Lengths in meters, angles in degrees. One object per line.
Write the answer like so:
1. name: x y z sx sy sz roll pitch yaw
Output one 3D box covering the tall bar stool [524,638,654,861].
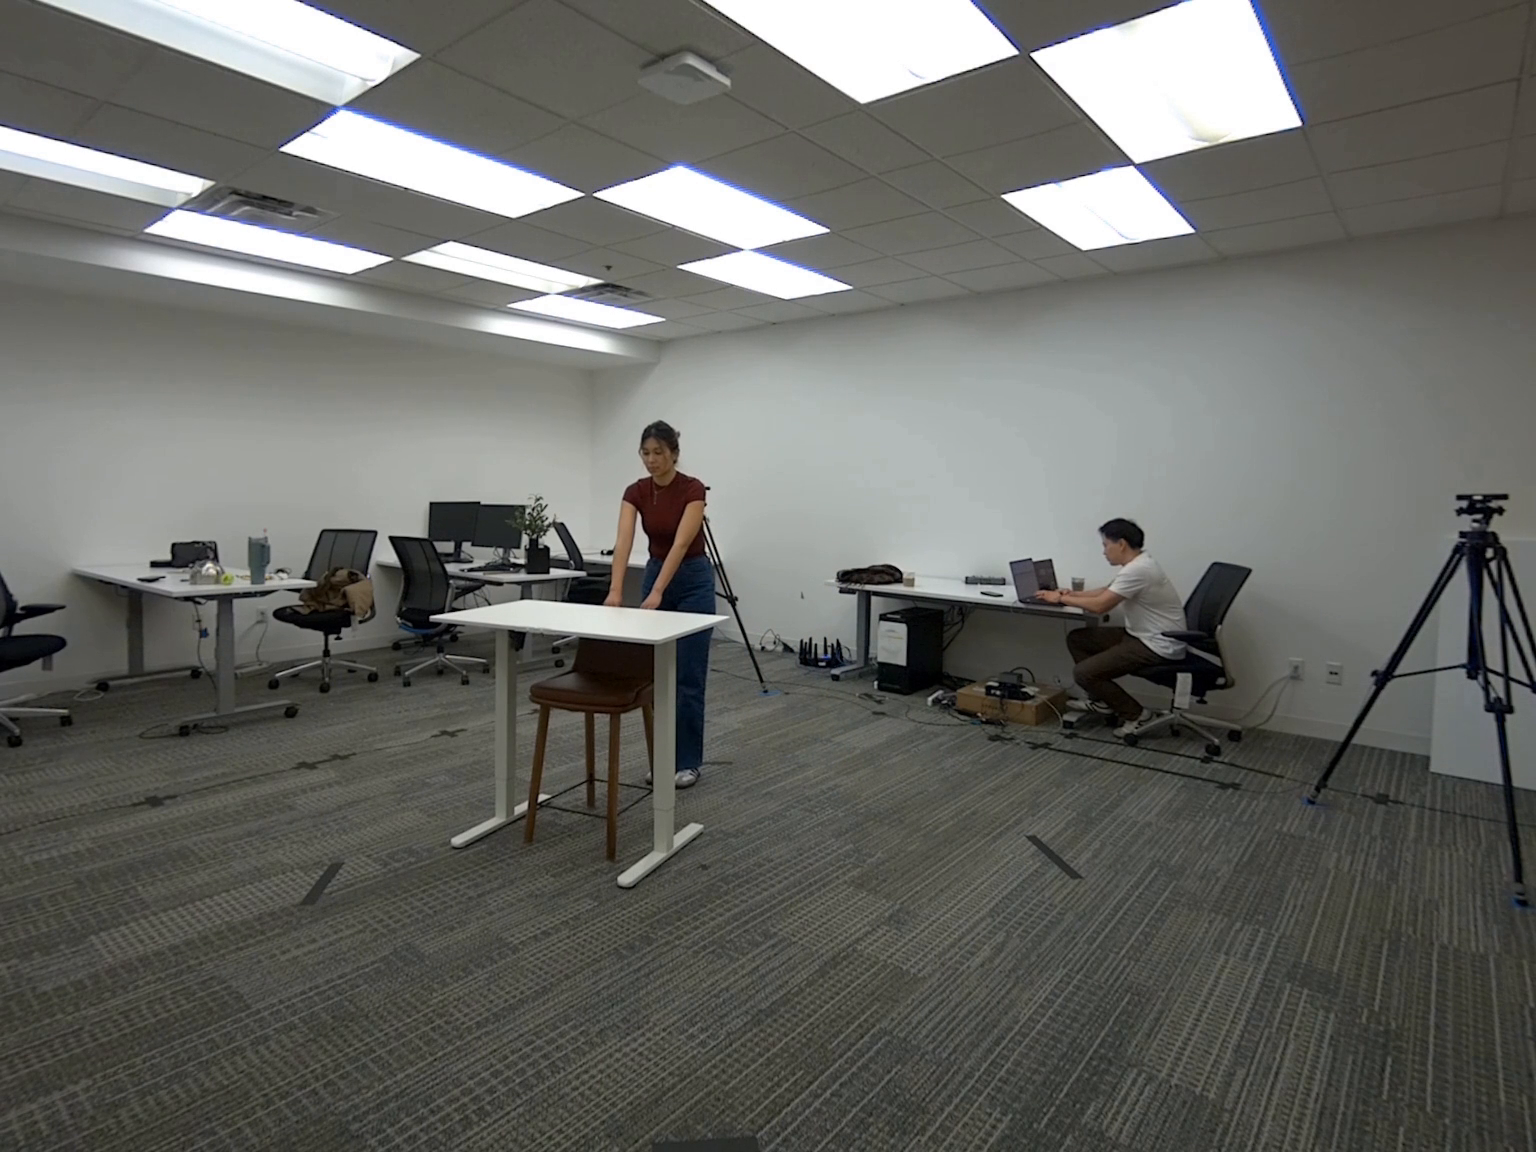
1. tall bar stool: -0.685 0.598 3.419 0.467 0.889 0.457 2 1 22
